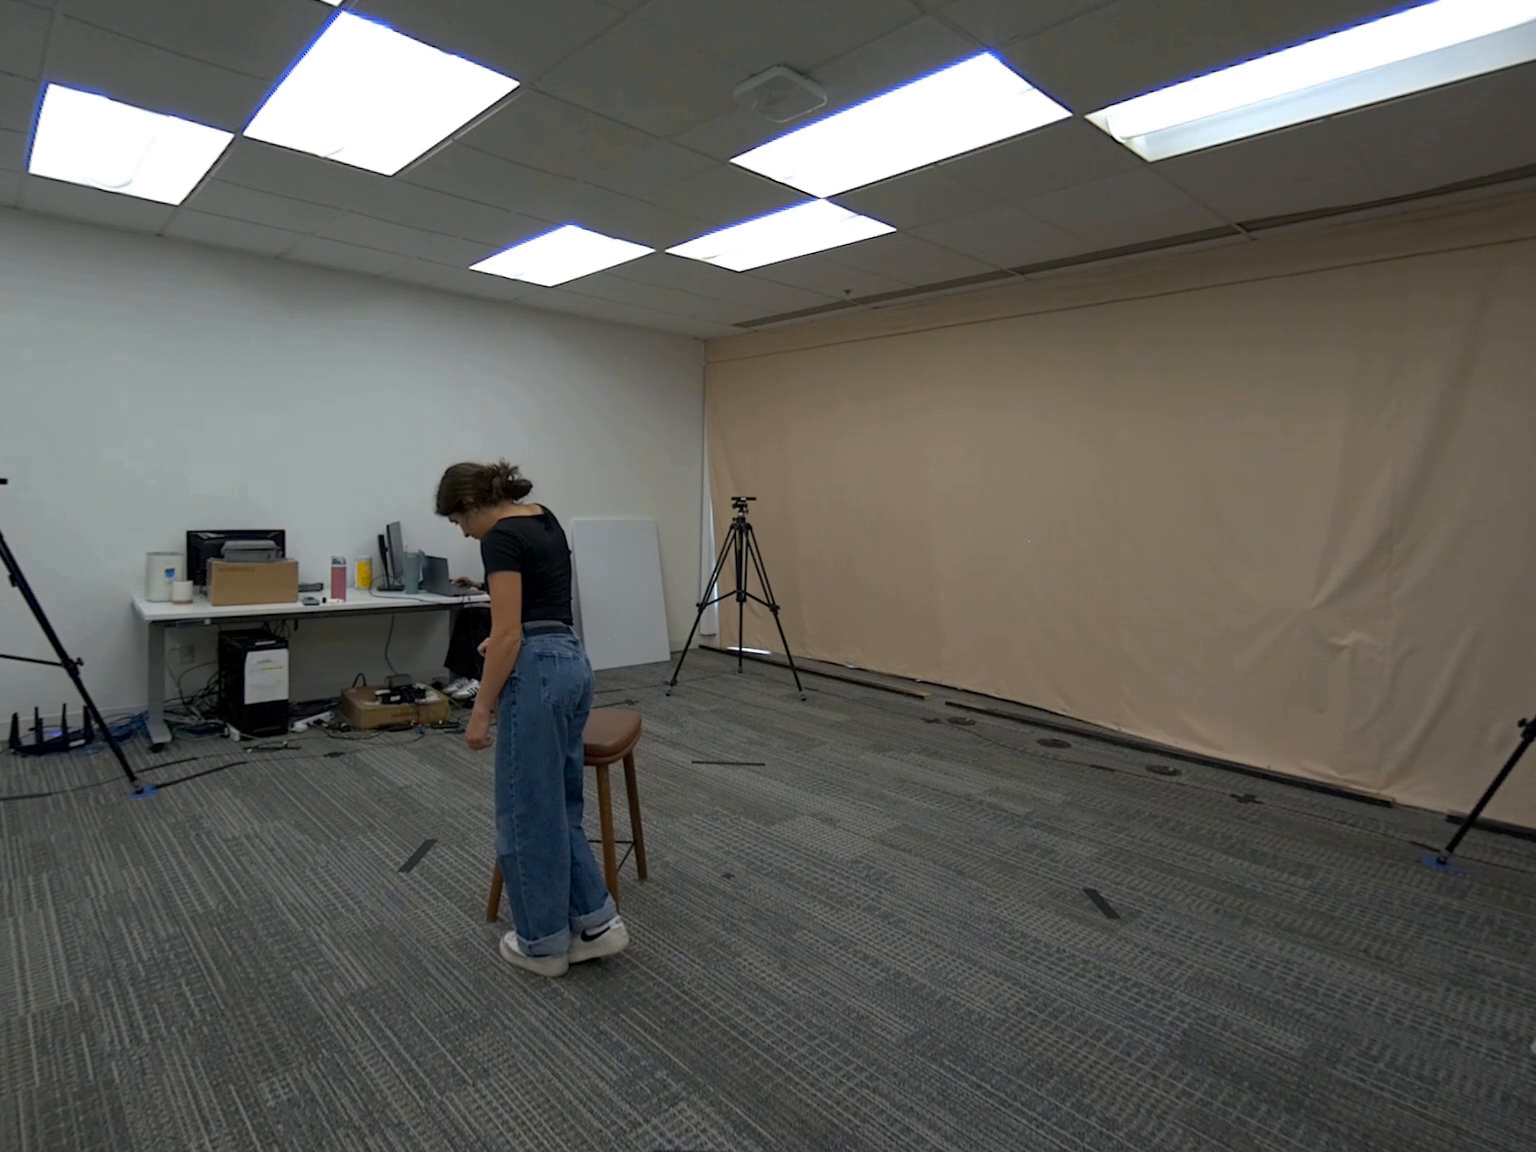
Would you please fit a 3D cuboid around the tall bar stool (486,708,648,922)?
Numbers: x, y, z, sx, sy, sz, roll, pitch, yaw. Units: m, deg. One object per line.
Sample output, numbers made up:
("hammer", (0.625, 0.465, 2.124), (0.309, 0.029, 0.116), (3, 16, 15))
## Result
("tall bar stool", (-0.685, 0.682, 2.876), (0.470, 0.887, 0.455), (0, 4, 6))
